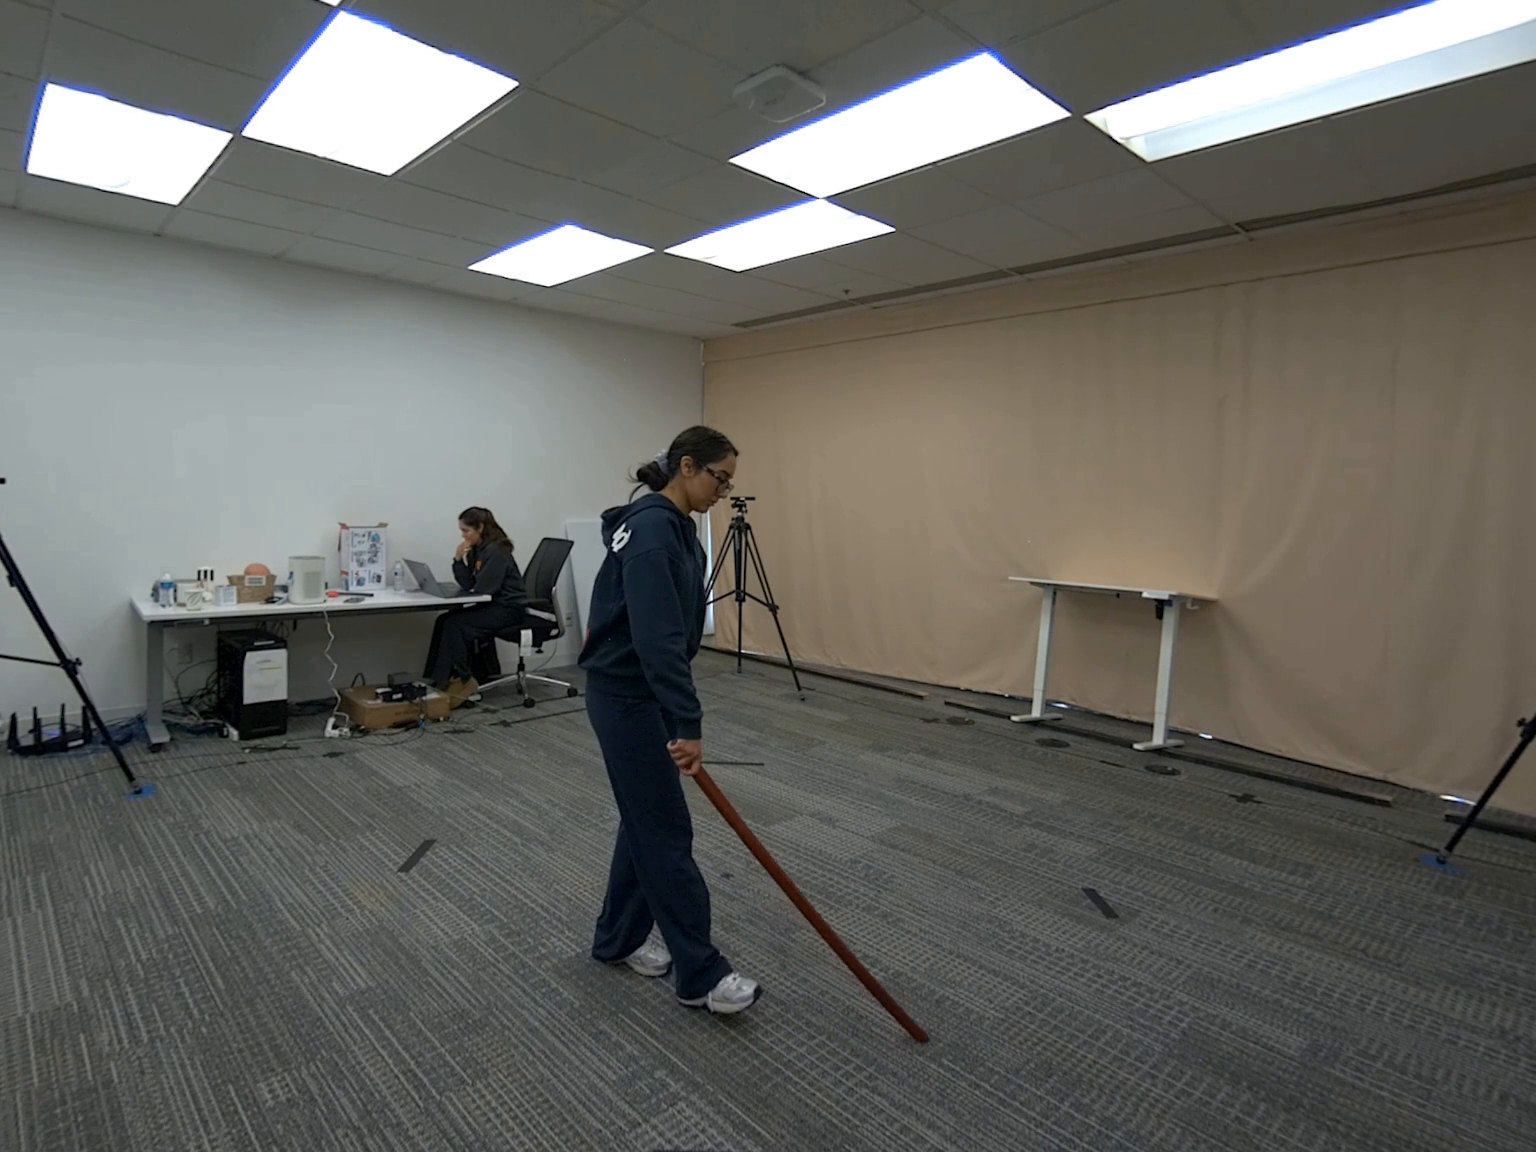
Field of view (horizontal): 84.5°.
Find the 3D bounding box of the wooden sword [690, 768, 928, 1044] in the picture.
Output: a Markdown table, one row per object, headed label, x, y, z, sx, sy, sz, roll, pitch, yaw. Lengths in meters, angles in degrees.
| label | x | y | z | sx | sy | sz | roll | pitch | yaw |
| --- | --- | --- | --- | --- | --- | --- | --- | --- | --- |
| wooden sword | 0.069 | 0.828 | 2.145 | 0.051 | 1.018 | 0.024 | -35 | 8 | 47 |
